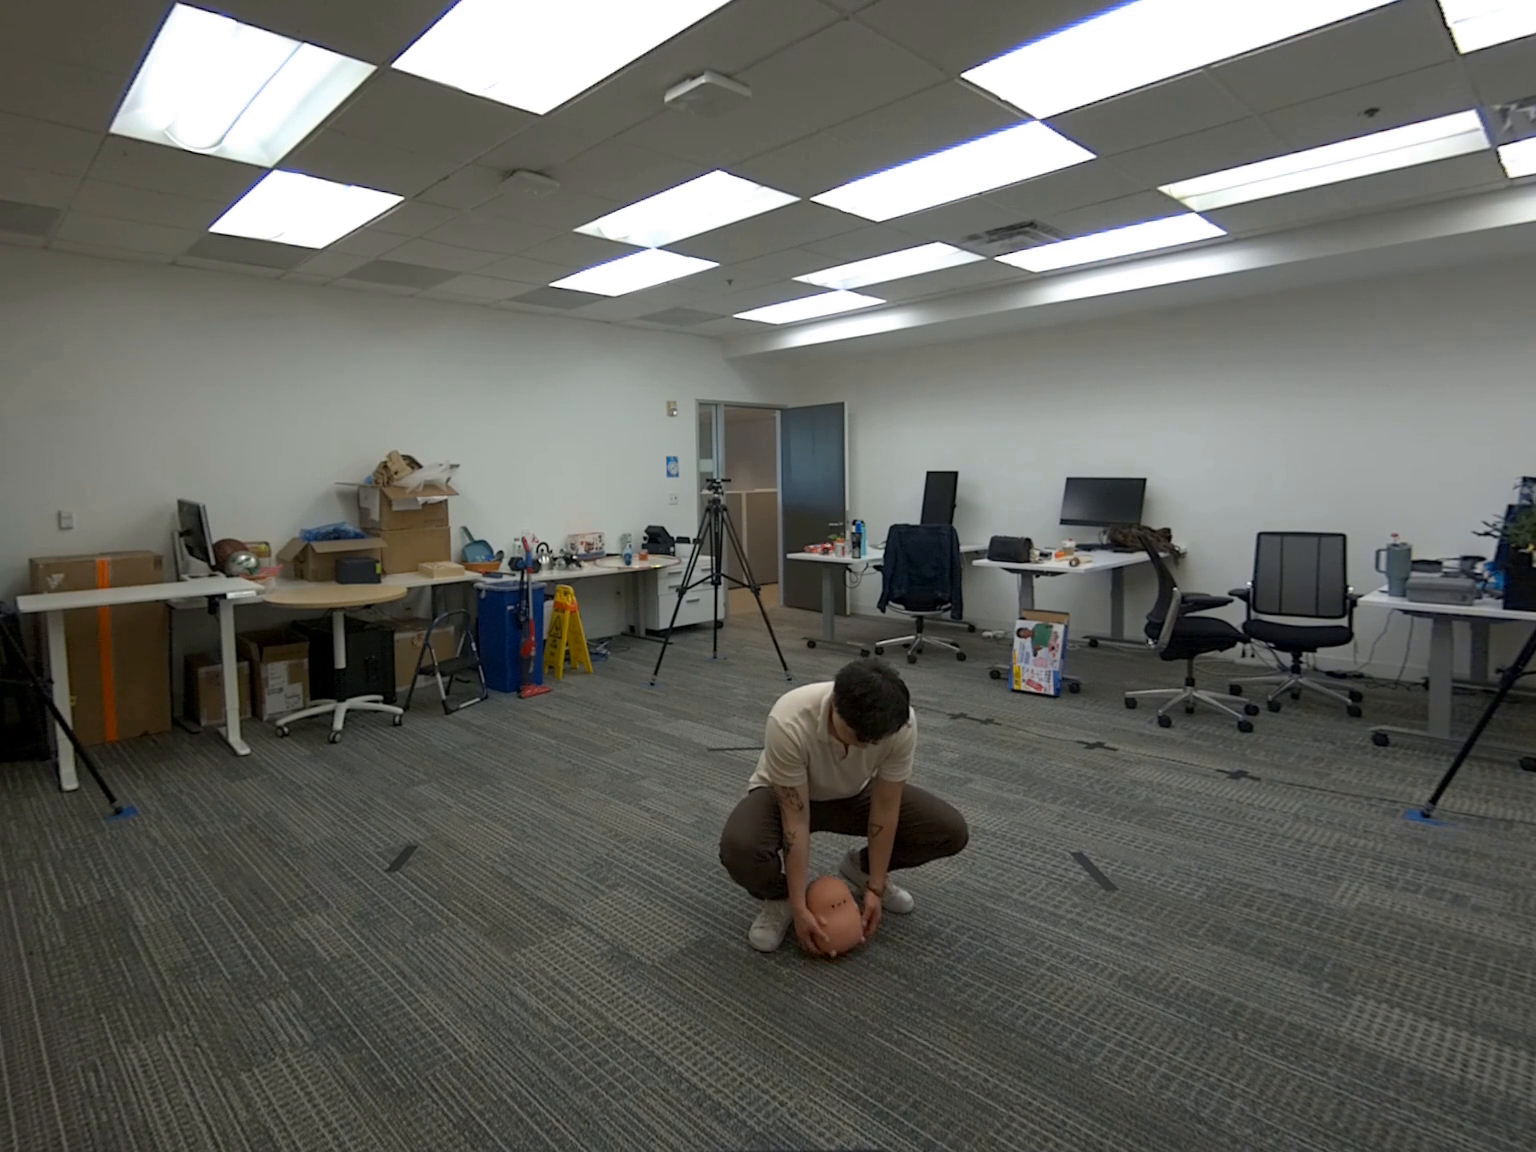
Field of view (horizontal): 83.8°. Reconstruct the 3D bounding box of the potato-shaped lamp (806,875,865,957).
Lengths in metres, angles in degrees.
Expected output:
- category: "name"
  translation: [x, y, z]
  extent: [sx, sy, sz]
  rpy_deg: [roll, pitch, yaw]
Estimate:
- category: "potato-shaped lamp"
  translation: [0.193, 0.982, 2.512]
  extent: [0.161, 0.198, 0.175]
  rpy_deg: [-7, 2, -24]
